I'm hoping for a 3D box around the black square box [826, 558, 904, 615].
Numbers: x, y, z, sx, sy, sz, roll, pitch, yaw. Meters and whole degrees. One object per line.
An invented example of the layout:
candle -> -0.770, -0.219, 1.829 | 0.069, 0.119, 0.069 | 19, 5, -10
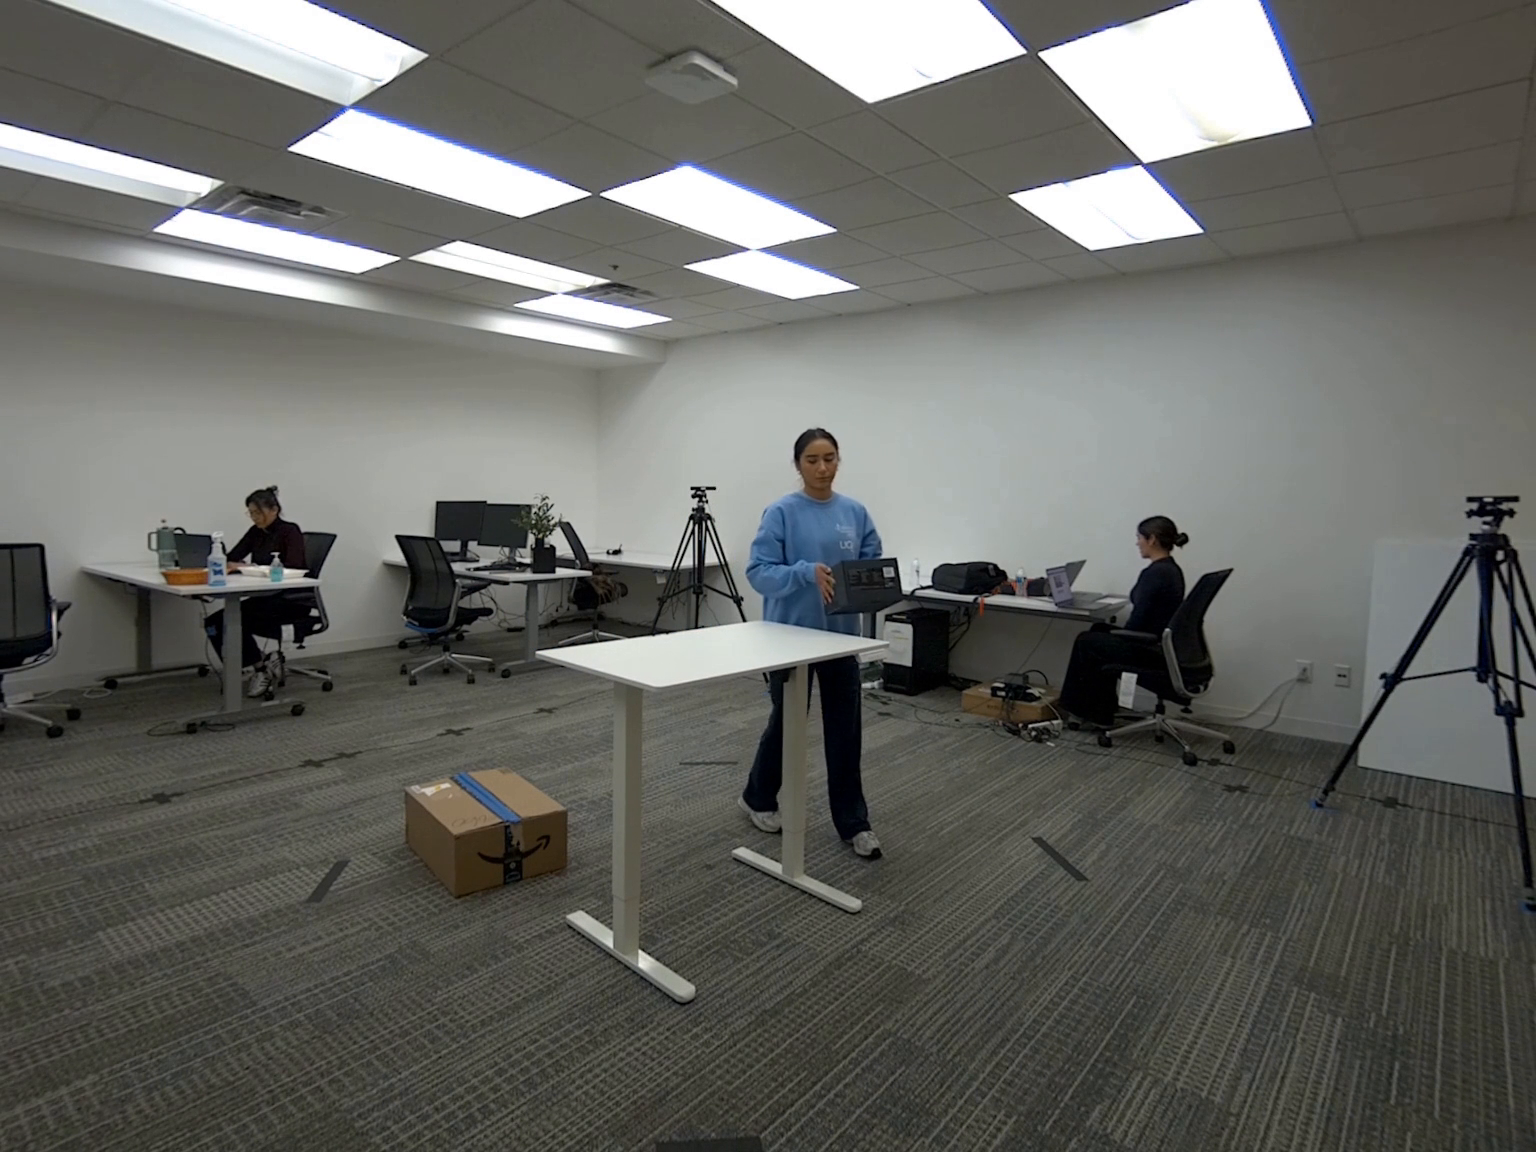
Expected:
black square box -> 0.319, 0.037, 3.093 | 0.214, 0.158, 0.227 | -2, -13, -13
